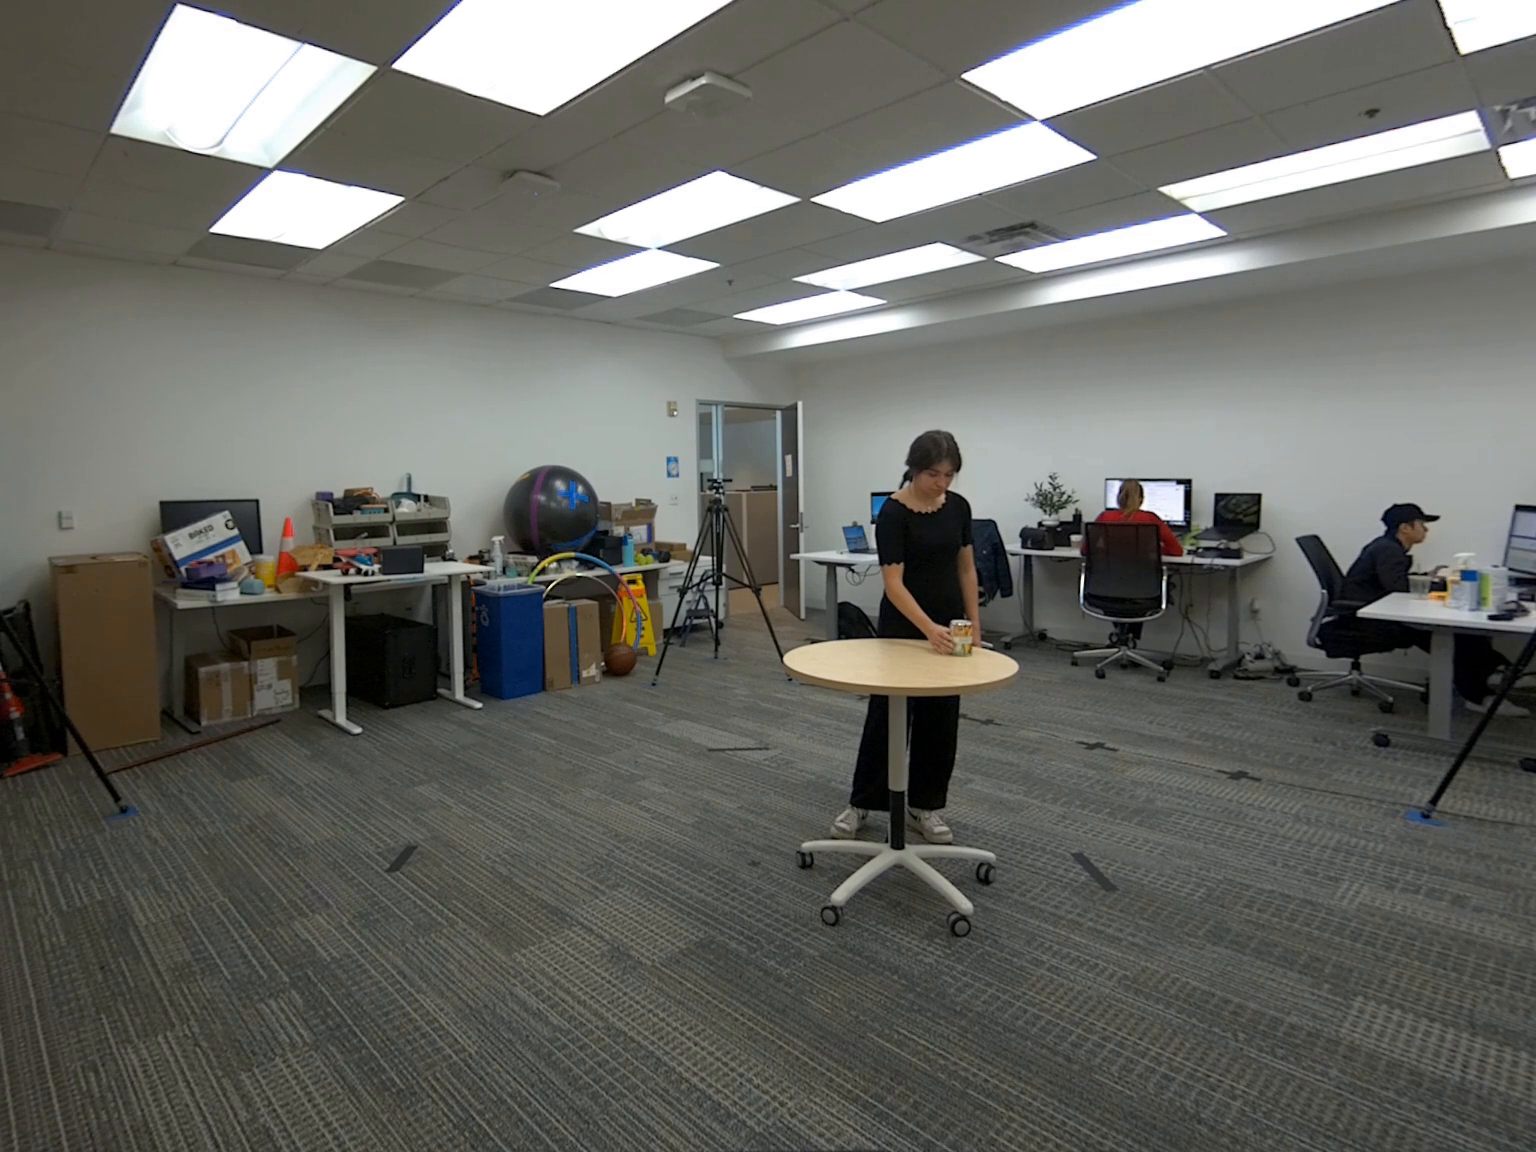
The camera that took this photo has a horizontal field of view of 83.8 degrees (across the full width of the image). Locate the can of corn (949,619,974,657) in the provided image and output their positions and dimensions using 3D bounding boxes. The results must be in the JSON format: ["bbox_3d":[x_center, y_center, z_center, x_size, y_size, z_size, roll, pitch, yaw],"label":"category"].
[{"bbox_3d":[0.653,0.215,2.935,0.074,0.111,0.074,-2,4,-2],"label":"can of corn"}]
